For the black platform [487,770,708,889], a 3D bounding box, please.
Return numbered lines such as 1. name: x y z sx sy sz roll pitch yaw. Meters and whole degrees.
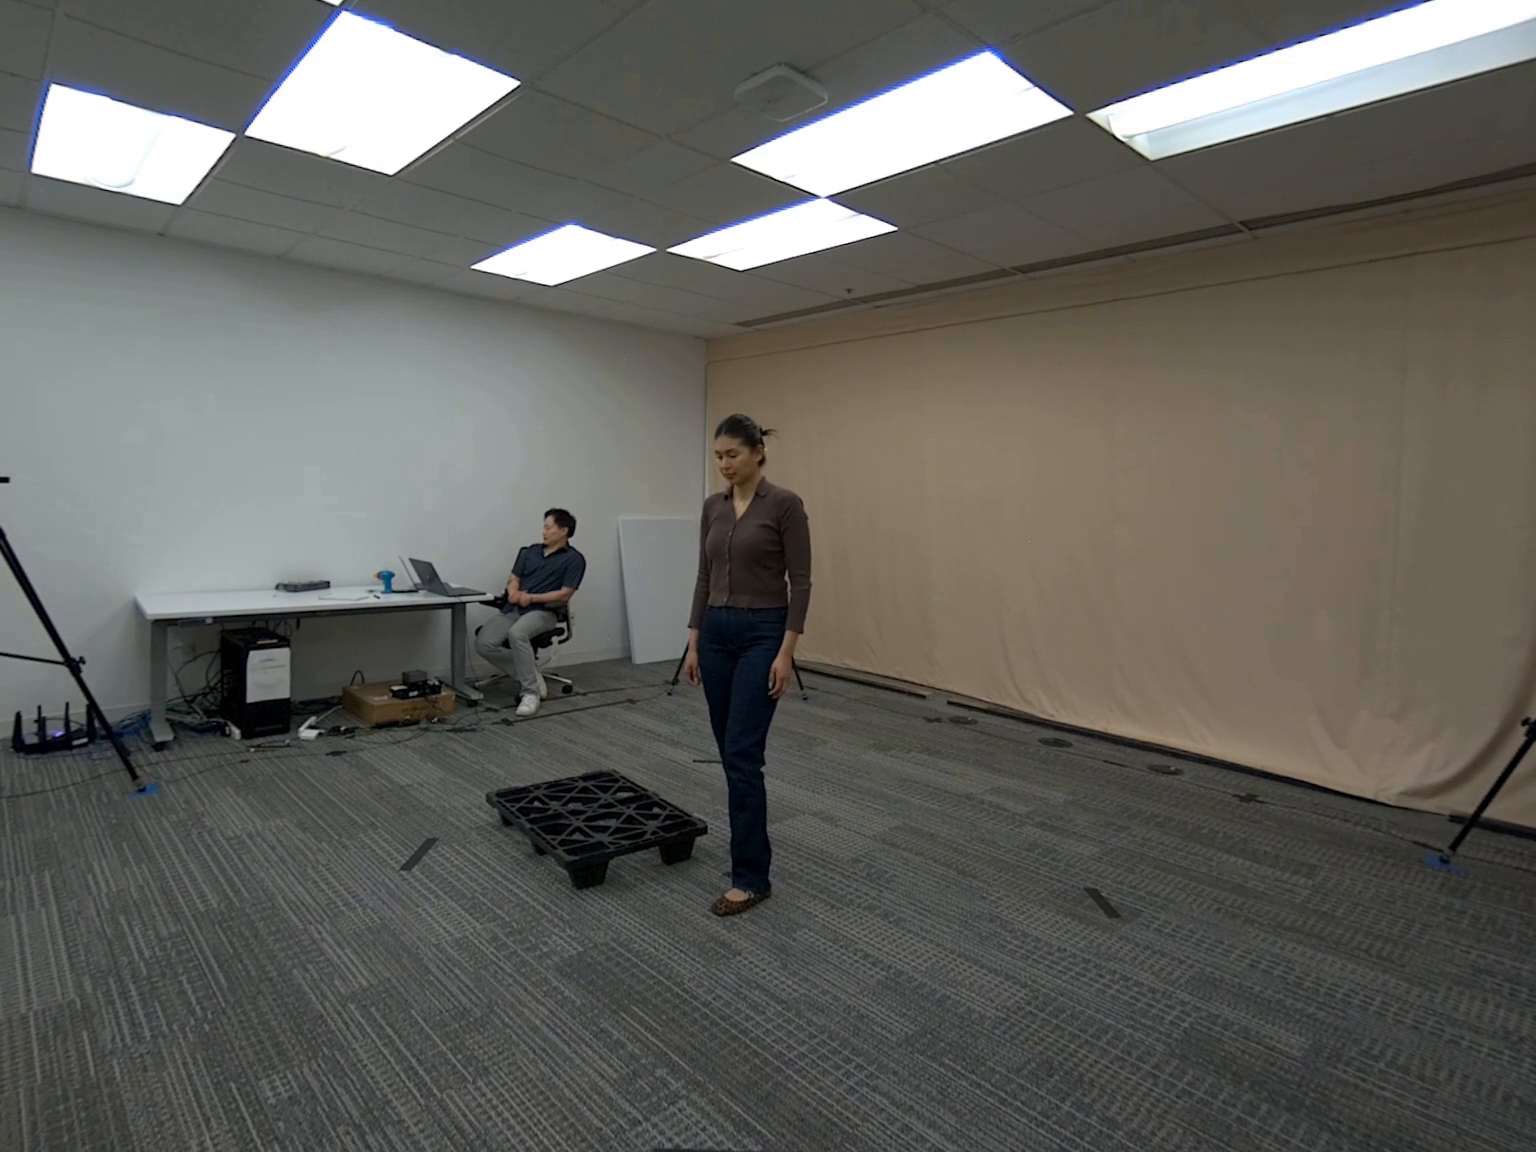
1. black platform: -0.710 0.997 3.386 0.591 0.143 0.826 -2 6 -37
